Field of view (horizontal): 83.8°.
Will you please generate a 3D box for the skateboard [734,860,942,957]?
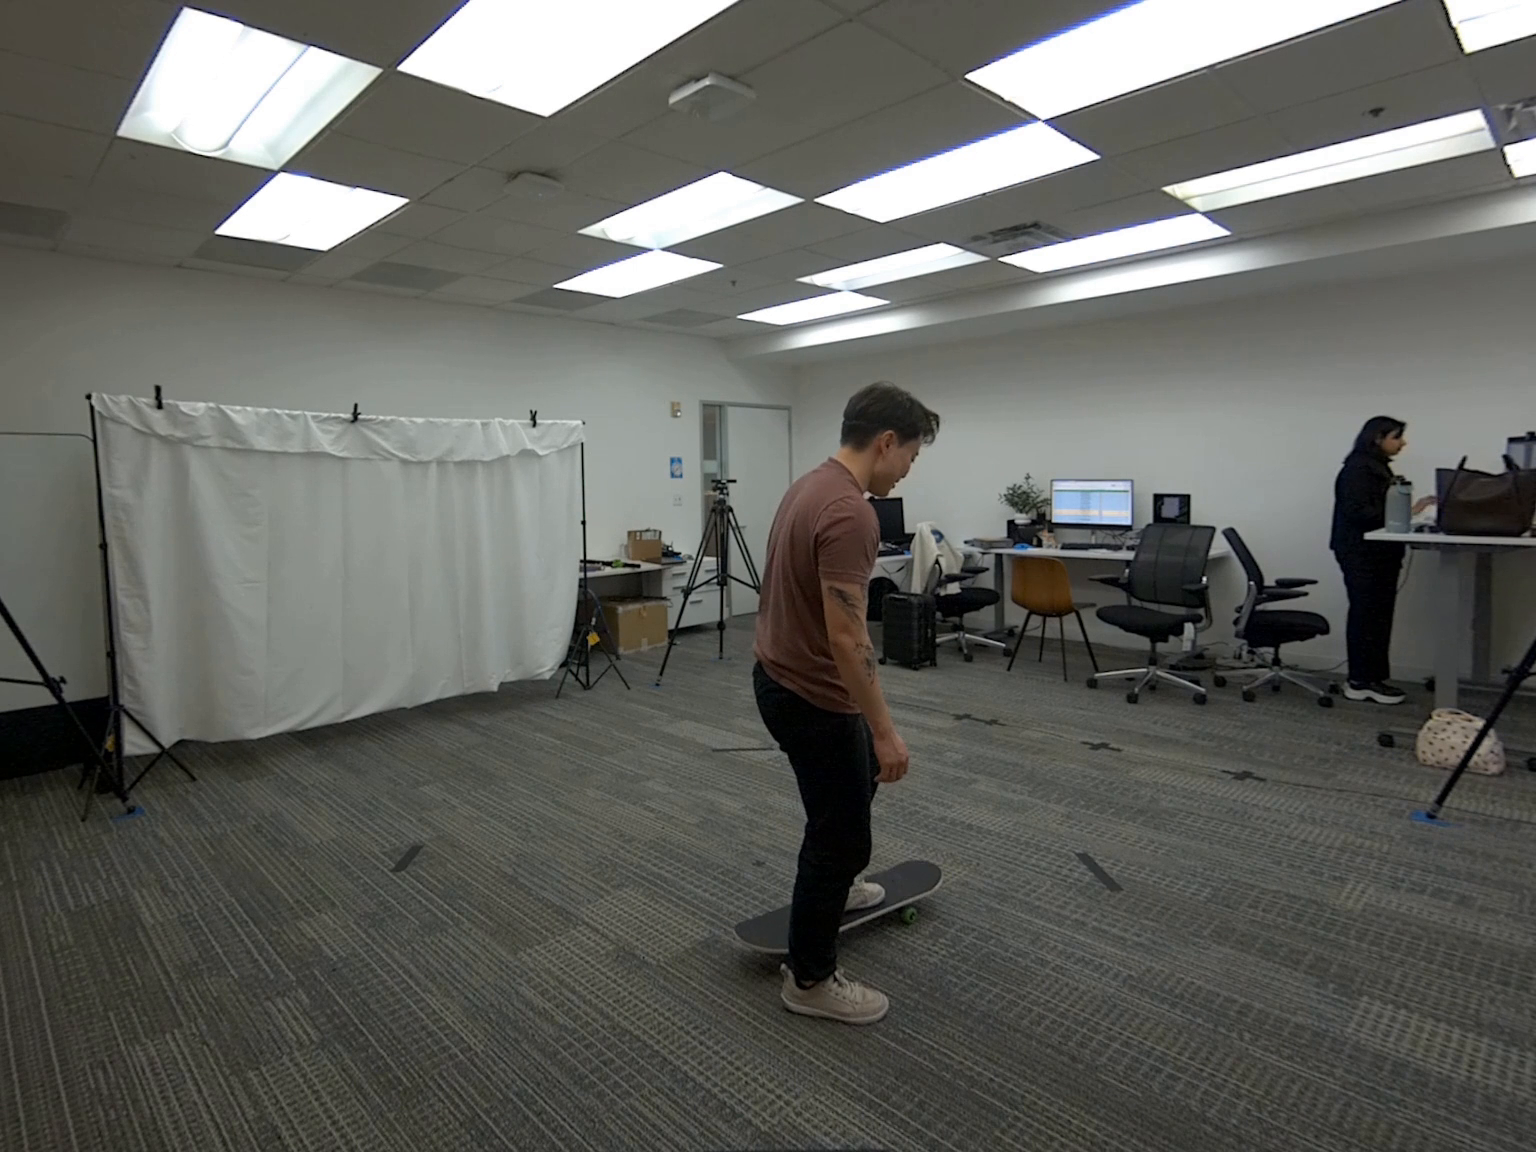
[{"bbox_3d":[0.248,1.041,2.623,0.766,0.110,0.199,-6,8,-35],"label":"skateboard"}]
